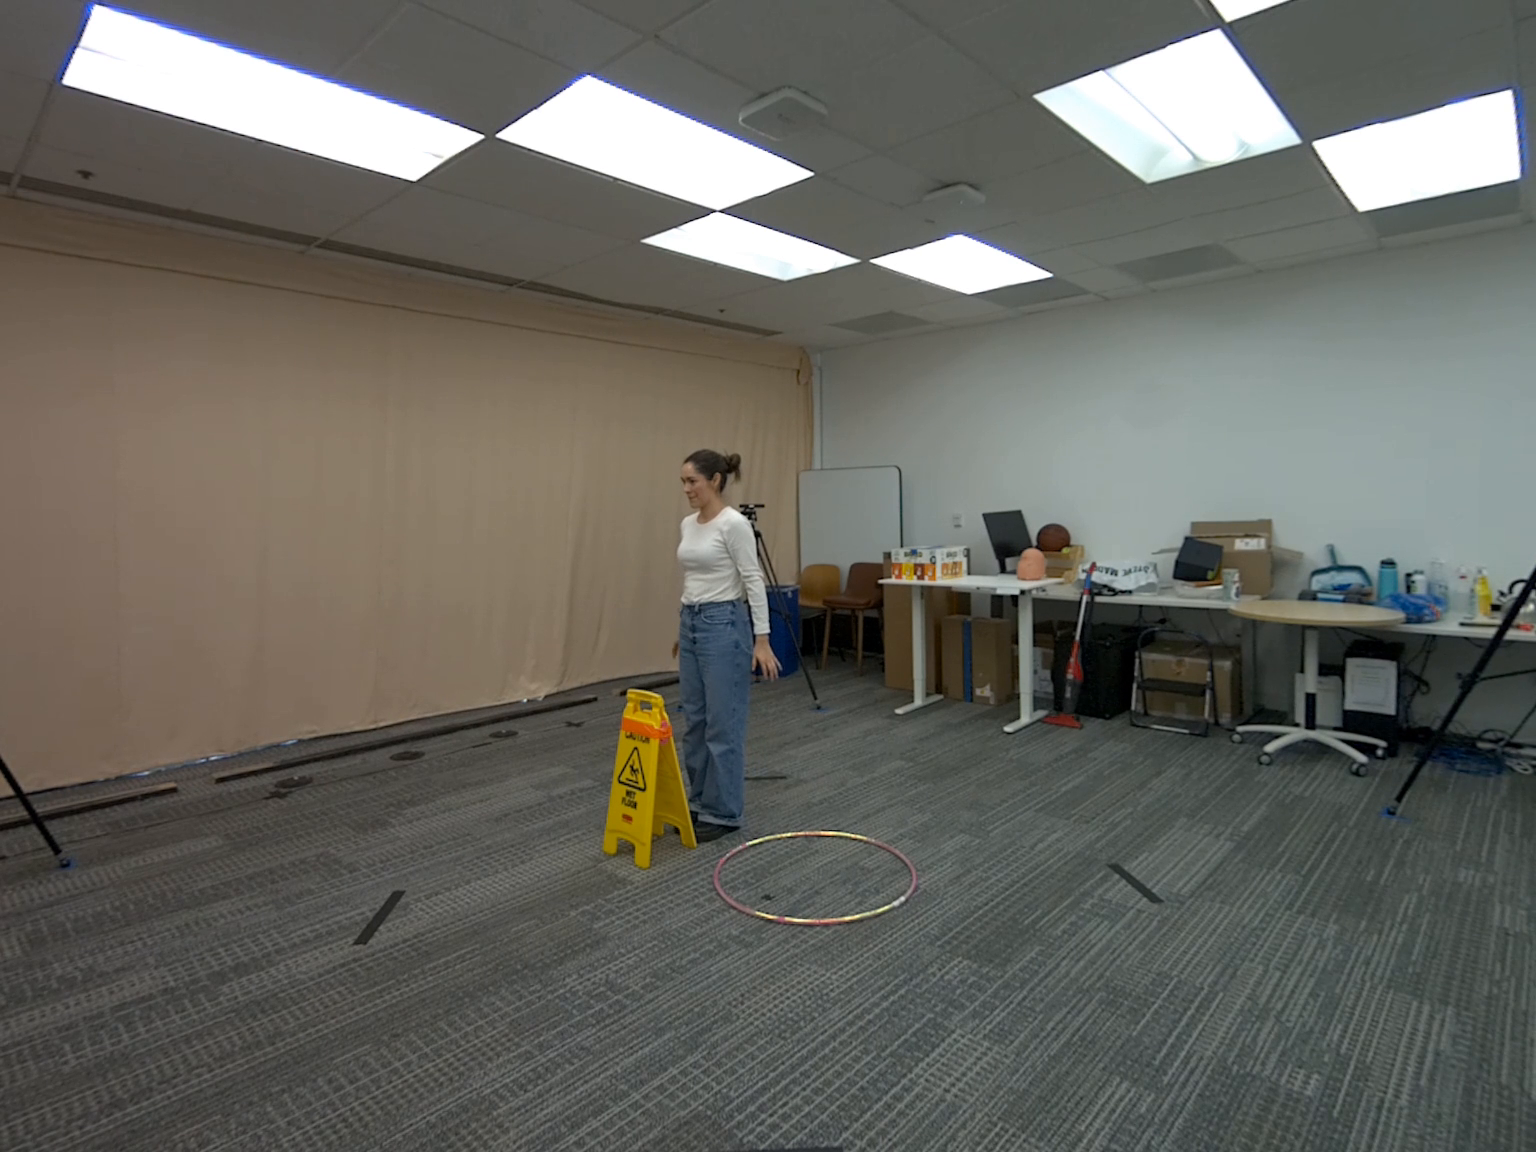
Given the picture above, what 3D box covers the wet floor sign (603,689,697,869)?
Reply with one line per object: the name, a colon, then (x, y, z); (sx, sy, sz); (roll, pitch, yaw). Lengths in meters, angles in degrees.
wet floor sign: (-0.489, 0.790, 3.411); (0.291, 0.645, 0.281); (0, 4, 44)
